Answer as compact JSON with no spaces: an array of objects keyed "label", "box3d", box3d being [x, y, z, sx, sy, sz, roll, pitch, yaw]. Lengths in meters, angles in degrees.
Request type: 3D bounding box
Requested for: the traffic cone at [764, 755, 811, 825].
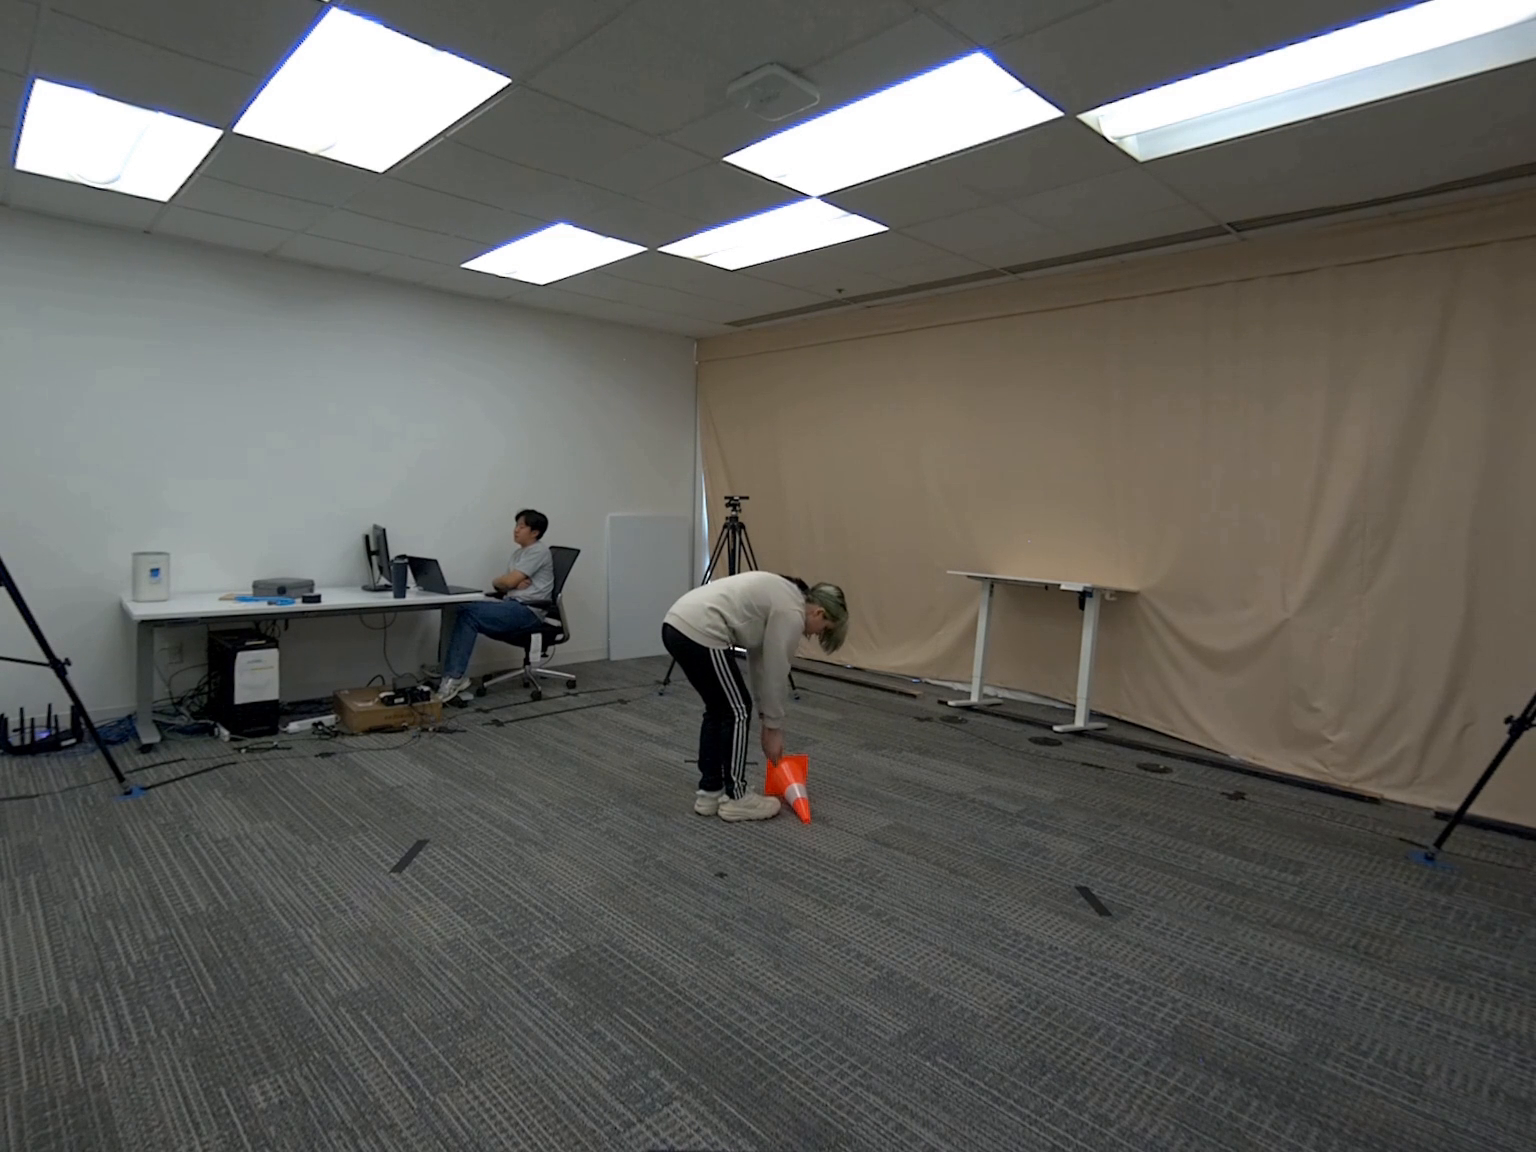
[{"label":"traffic cone","box3d":[0.128,1.005,3.804,0.203,0.201,0.391,1,17,-13]}]
